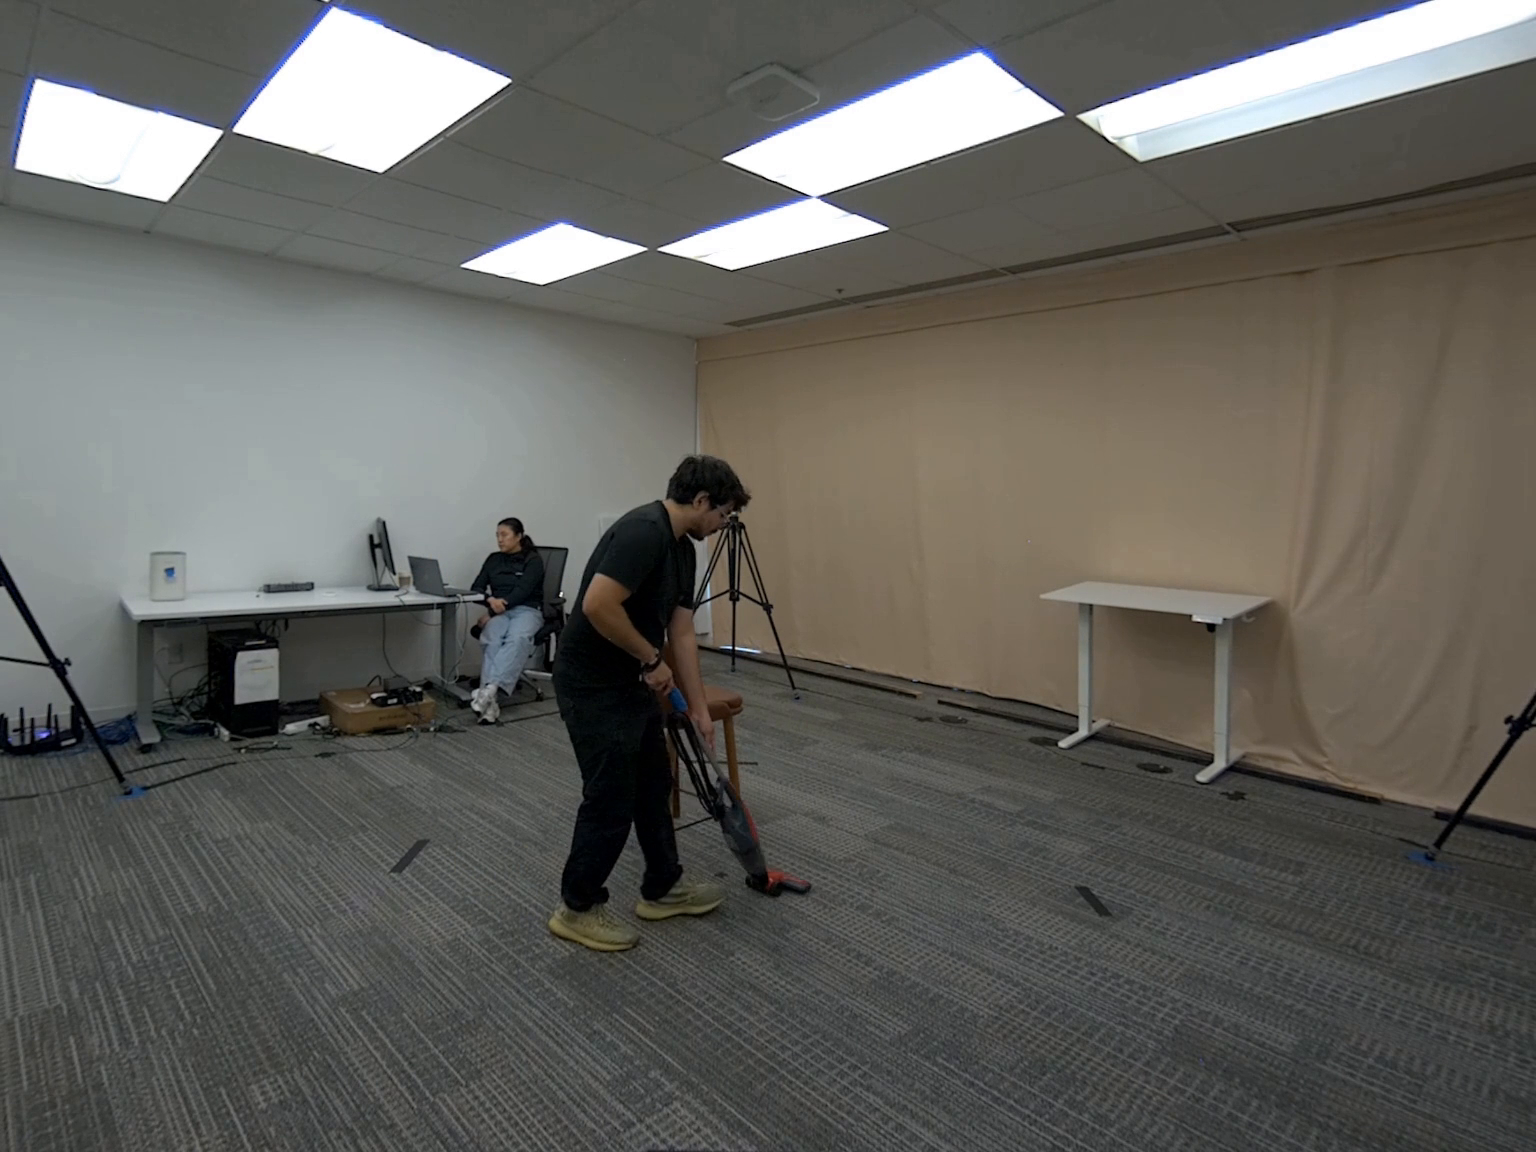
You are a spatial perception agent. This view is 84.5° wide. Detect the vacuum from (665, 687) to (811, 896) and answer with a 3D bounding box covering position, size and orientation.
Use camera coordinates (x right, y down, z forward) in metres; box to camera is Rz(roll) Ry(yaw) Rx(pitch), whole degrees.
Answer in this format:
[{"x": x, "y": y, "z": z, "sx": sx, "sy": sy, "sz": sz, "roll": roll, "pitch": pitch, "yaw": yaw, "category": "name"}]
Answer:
[{"x": -0.159, "y": 0.709, "z": 2.776, "sx": 0.258, "sy": 1.023, "sz": 0.144, "roll": 1, "pitch": 38, "yaw": 36, "category": "vacuum"}]
